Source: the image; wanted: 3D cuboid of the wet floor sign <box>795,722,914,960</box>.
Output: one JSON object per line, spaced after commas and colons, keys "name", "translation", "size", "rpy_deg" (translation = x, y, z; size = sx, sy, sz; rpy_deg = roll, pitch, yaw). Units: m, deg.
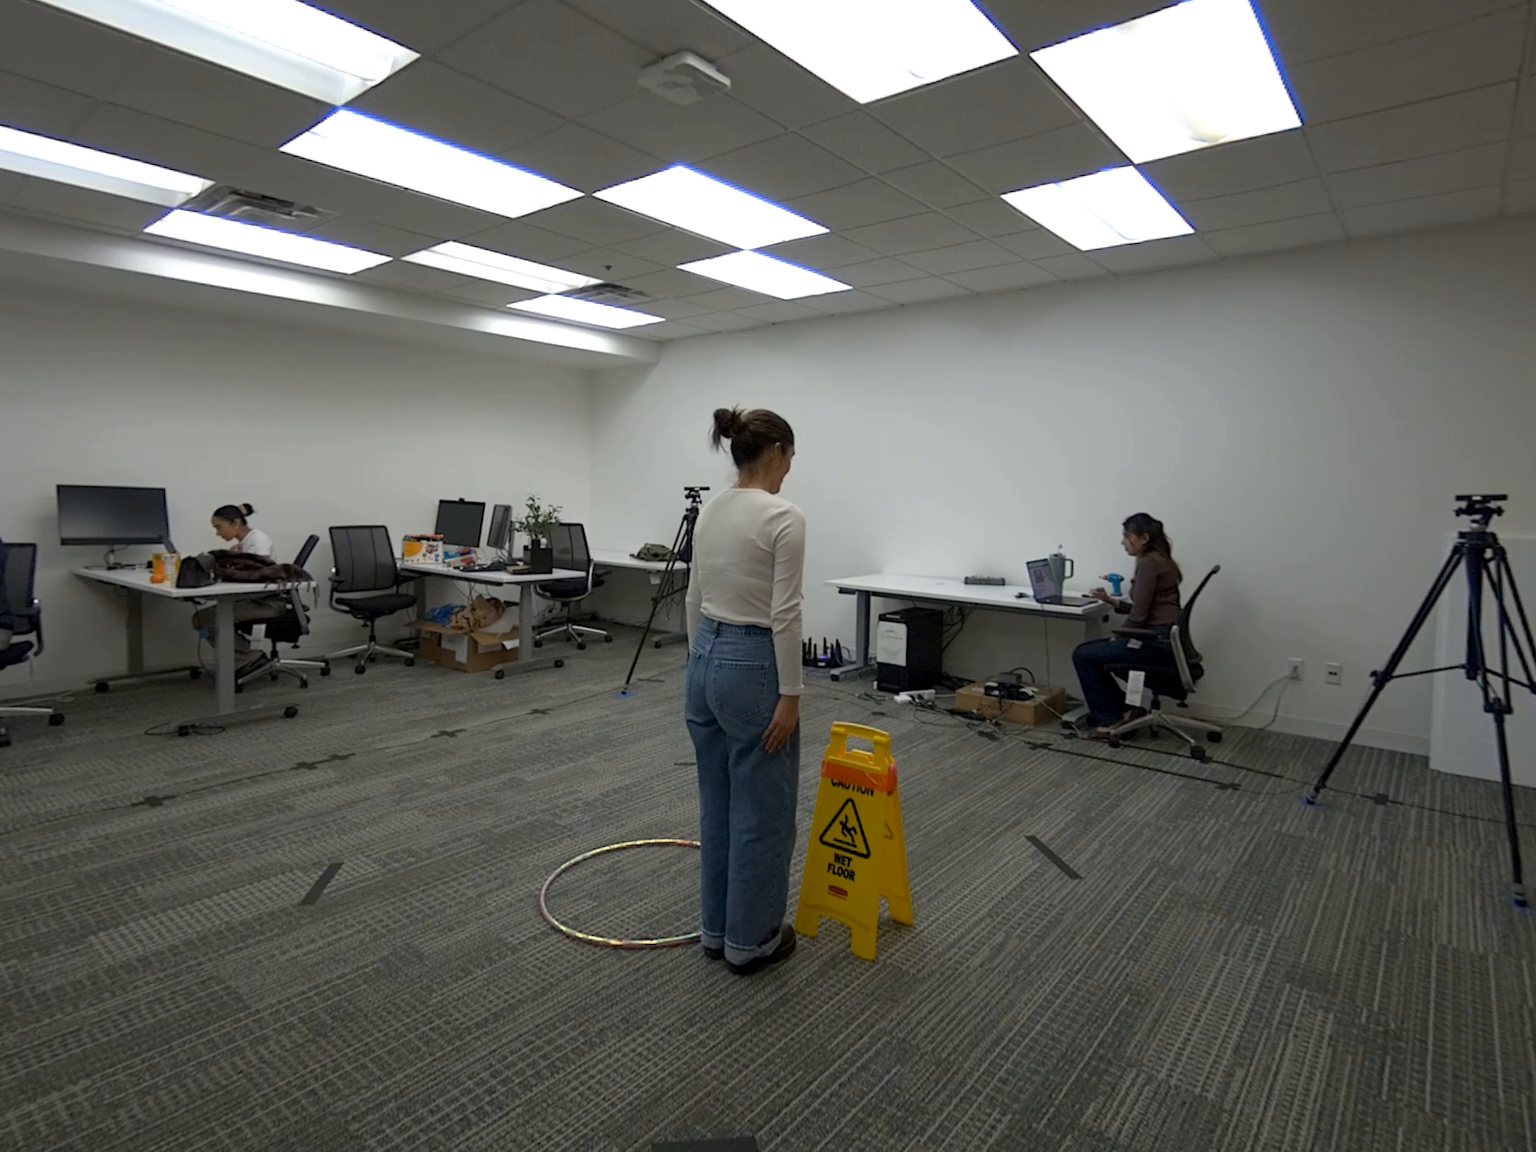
{"name": "wet floor sign", "translation": [0.272, 0.789, 2.692], "size": [0.291, 0.644, 0.281], "rpy_deg": [4, 4, 36]}
